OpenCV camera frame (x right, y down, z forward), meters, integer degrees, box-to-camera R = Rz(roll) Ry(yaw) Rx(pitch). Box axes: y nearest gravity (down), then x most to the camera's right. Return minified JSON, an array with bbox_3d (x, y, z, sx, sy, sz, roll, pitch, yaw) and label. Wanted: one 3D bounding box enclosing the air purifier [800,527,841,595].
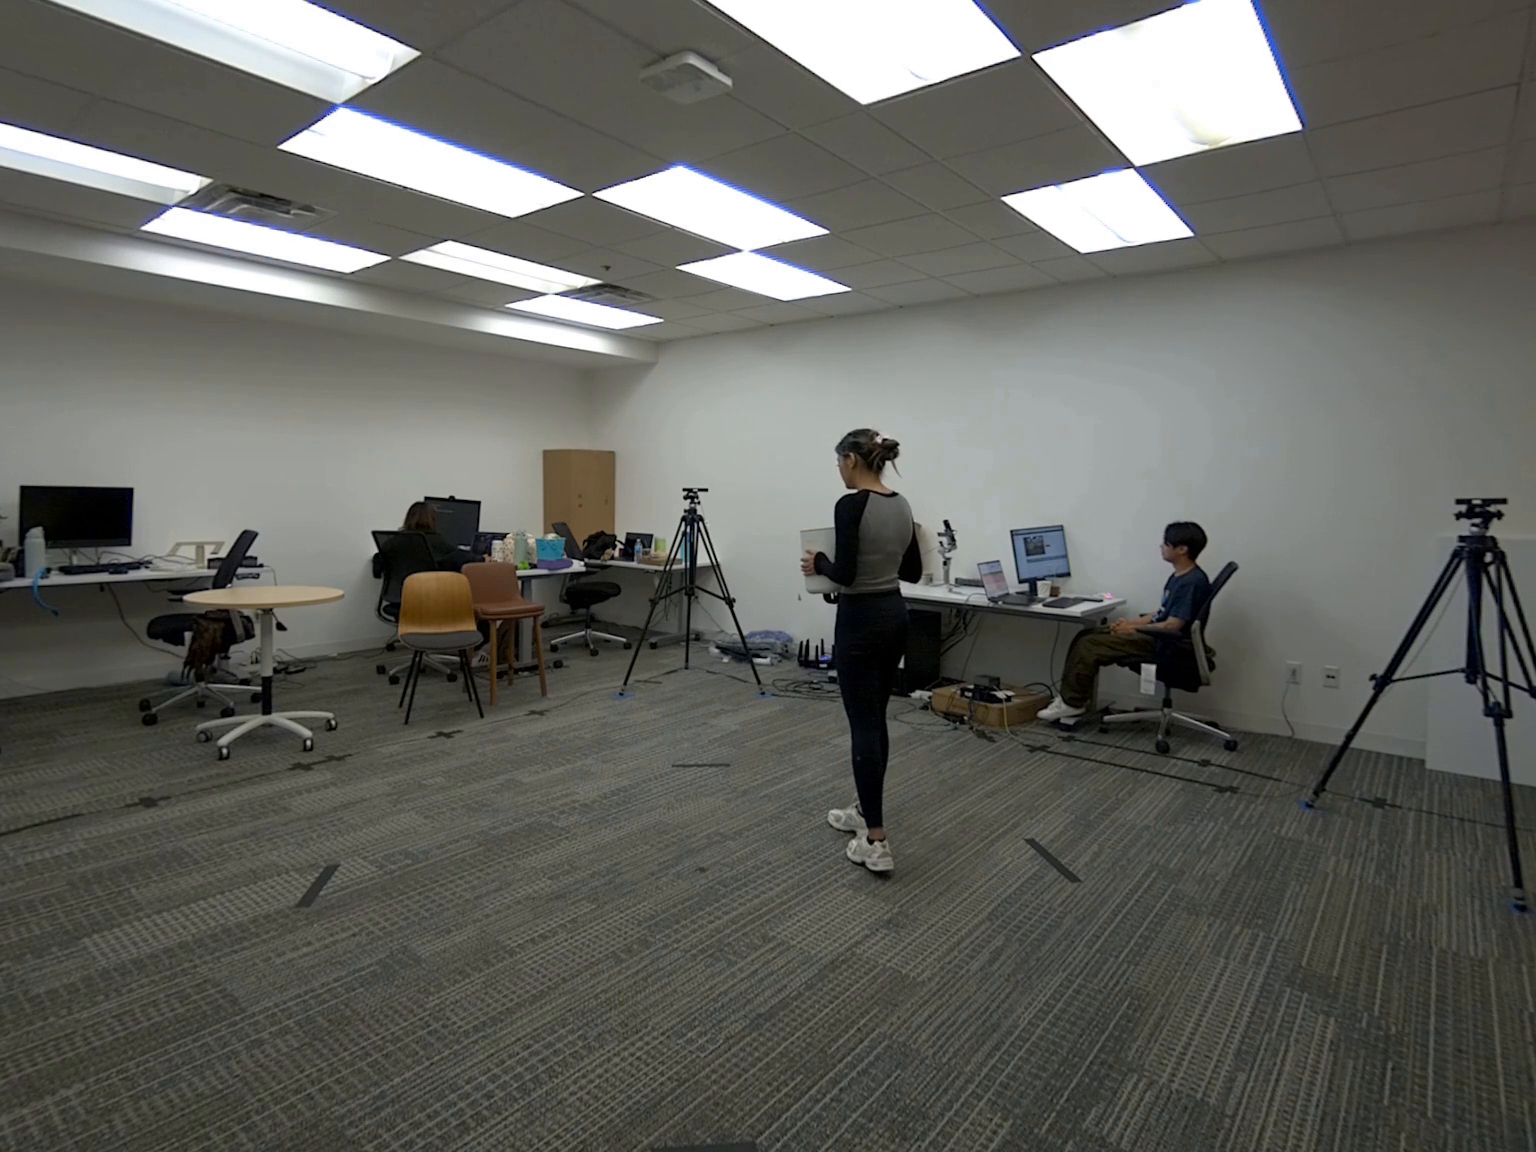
[{"bbox_3d":[0.236,-0.070,3.515,0.167,0.265,0.176,-5,0,-41],"label":"air purifier"}]
